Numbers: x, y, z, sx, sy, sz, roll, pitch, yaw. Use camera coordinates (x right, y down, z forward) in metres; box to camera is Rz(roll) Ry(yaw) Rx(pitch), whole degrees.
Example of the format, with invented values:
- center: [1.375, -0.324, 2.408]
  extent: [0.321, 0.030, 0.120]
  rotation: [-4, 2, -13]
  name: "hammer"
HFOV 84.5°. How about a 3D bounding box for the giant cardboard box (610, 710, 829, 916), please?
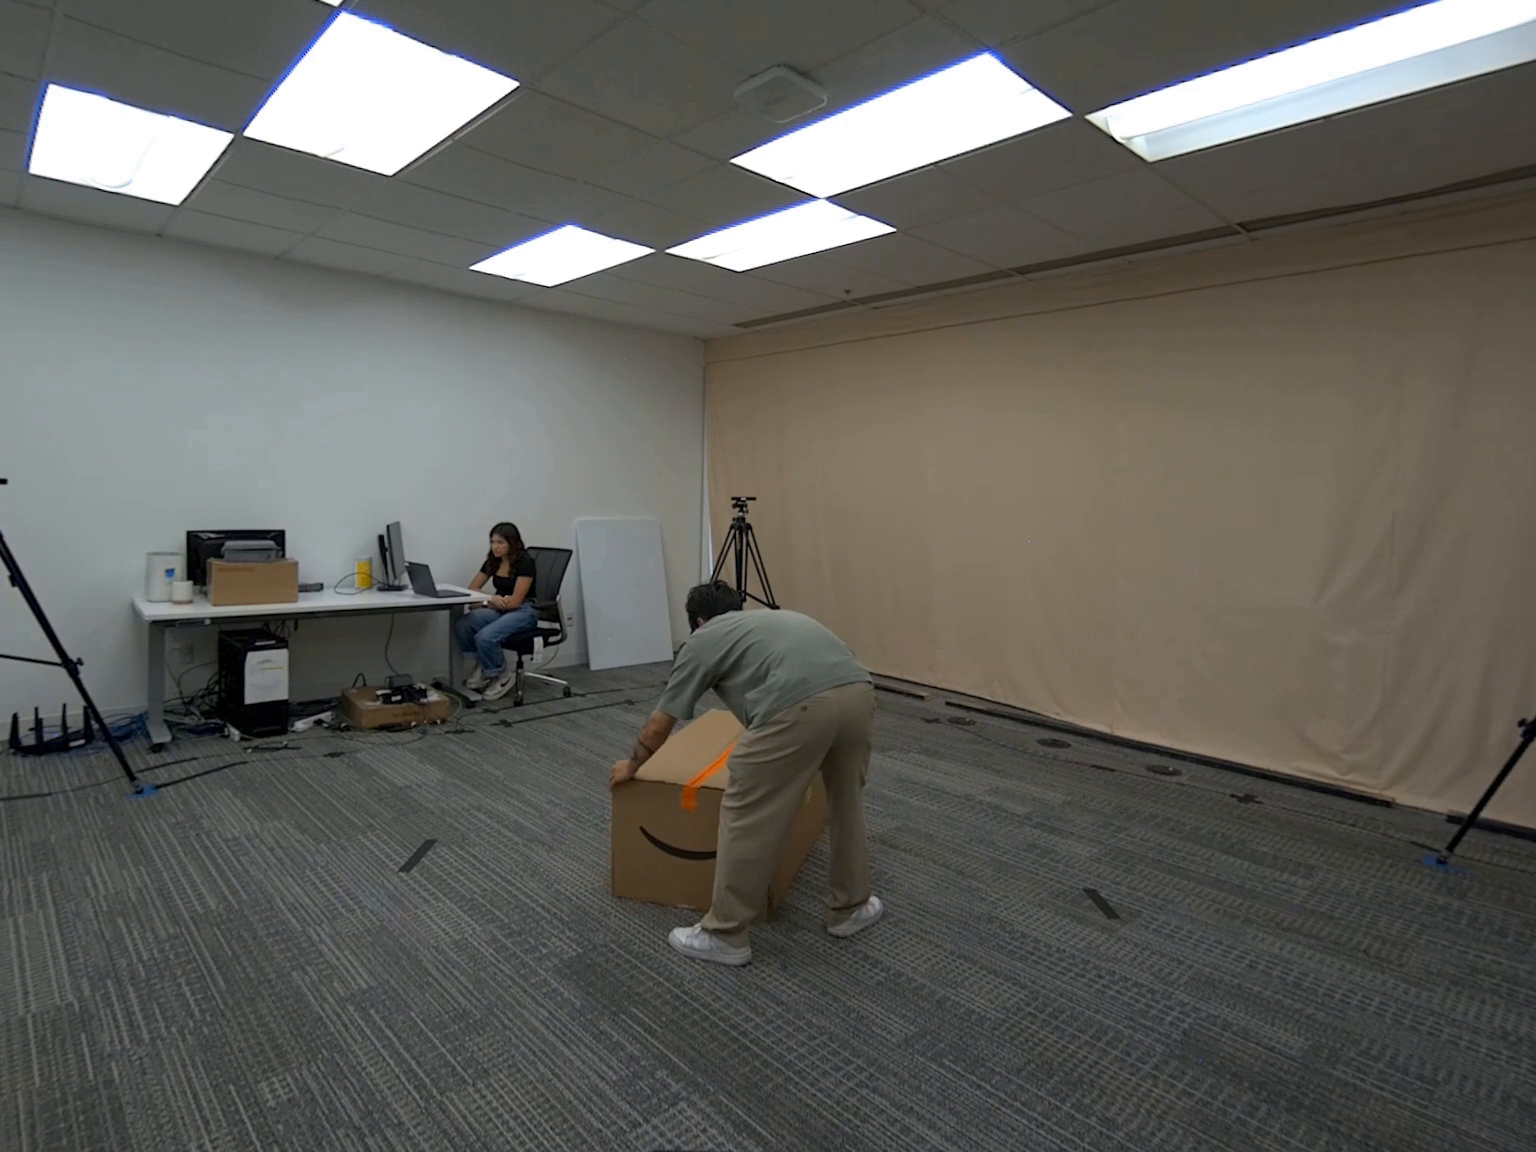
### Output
- center: [-0.139, 0.869, 3.325]
  extent: [0.585, 0.425, 1.015]
  rotation: [3, 6, 16]
  name: "giant cardboard box"
